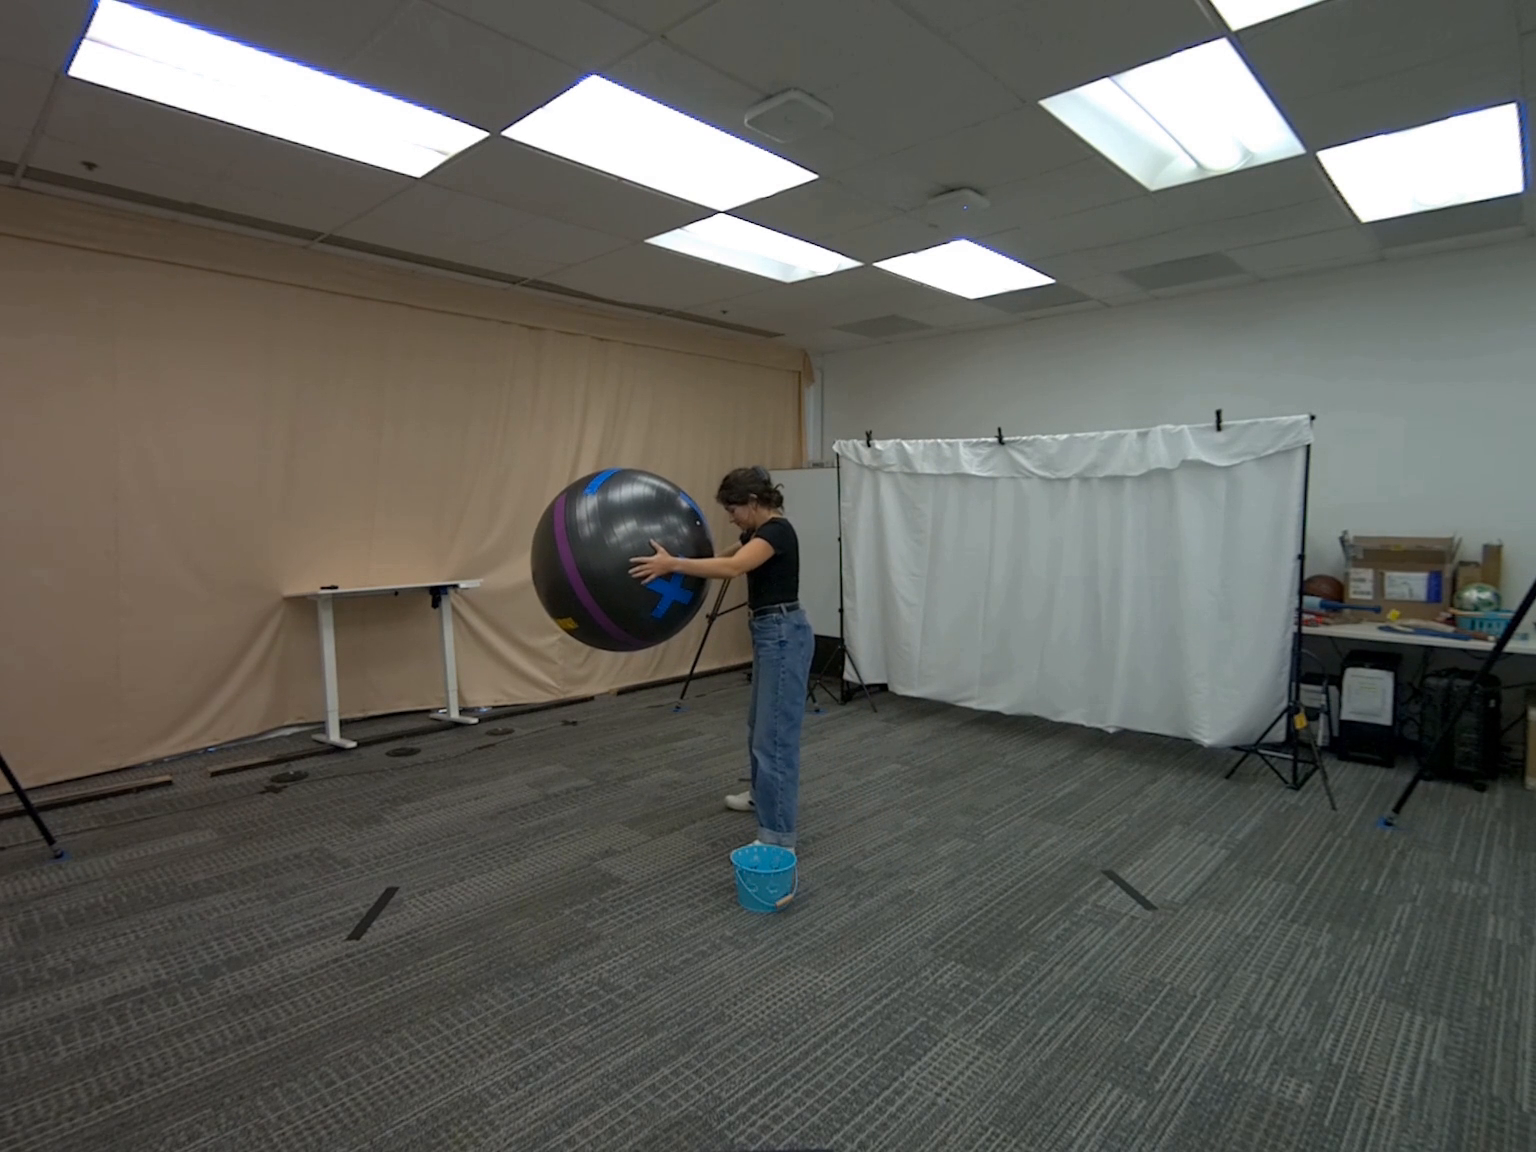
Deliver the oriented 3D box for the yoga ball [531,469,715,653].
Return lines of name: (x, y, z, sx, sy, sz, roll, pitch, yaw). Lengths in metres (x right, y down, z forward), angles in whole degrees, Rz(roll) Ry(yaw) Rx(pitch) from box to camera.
yoga ball: (-0.607, -0.052, 3.499, 0.757, 0.756, 0.760, 0, 4, -2)
